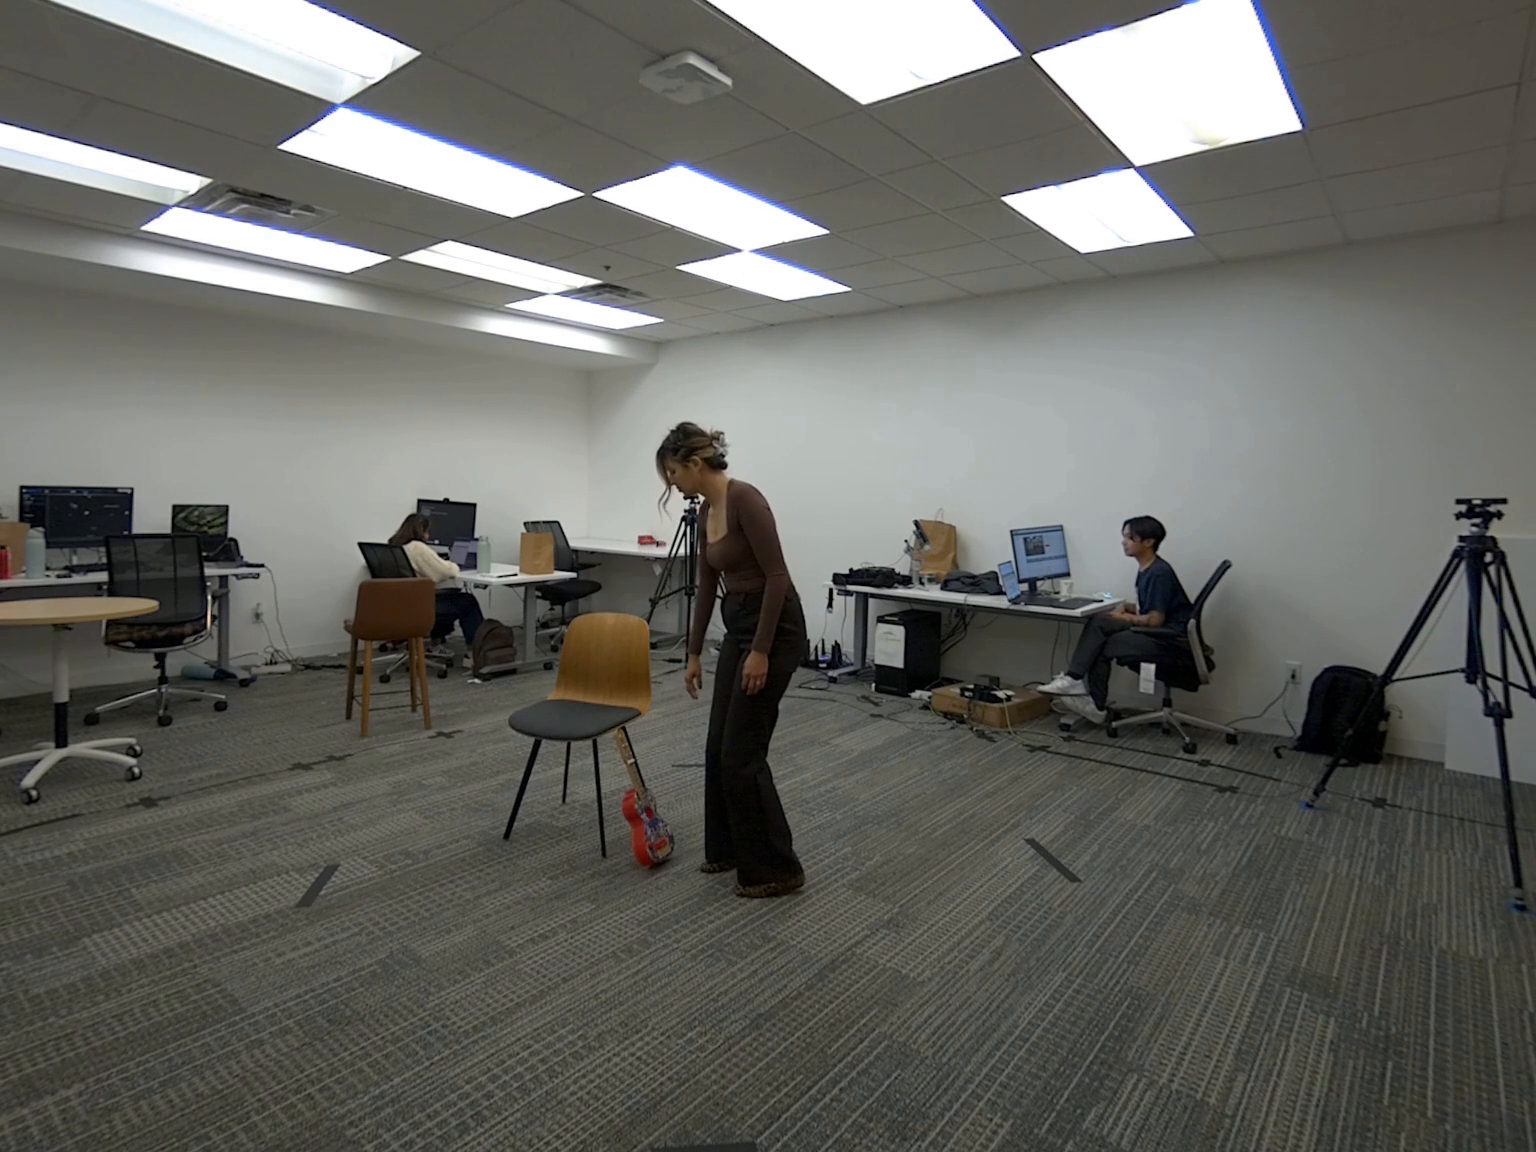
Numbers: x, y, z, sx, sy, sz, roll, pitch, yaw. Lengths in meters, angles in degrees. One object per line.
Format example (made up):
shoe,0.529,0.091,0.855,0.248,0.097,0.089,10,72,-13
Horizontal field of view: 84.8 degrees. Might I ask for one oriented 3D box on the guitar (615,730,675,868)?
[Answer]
guitar,-0.489,0.828,3.209,0.071,0.507,0.187,-26,-16,23
